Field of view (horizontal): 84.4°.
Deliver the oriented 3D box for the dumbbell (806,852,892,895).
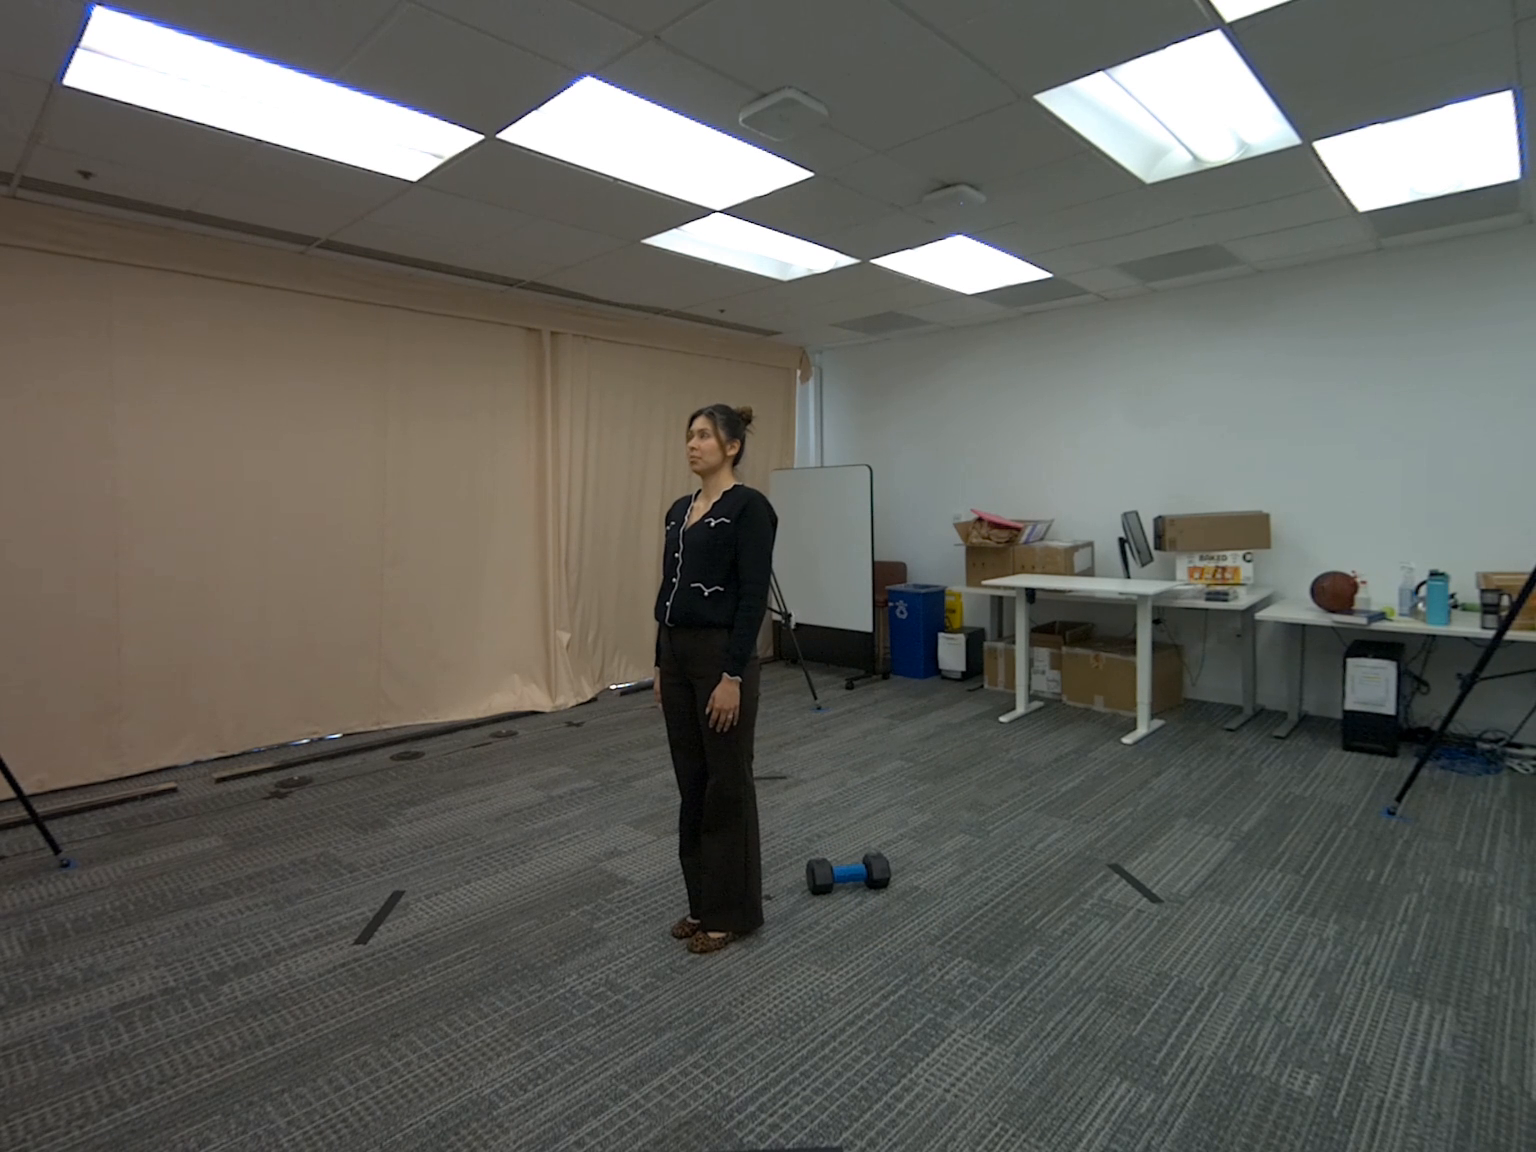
[{"bbox_3d":[0.295,1.079,3.042,0.290,0.125,0.108,-2,-26,-10],"label":"dumbbell"}]
